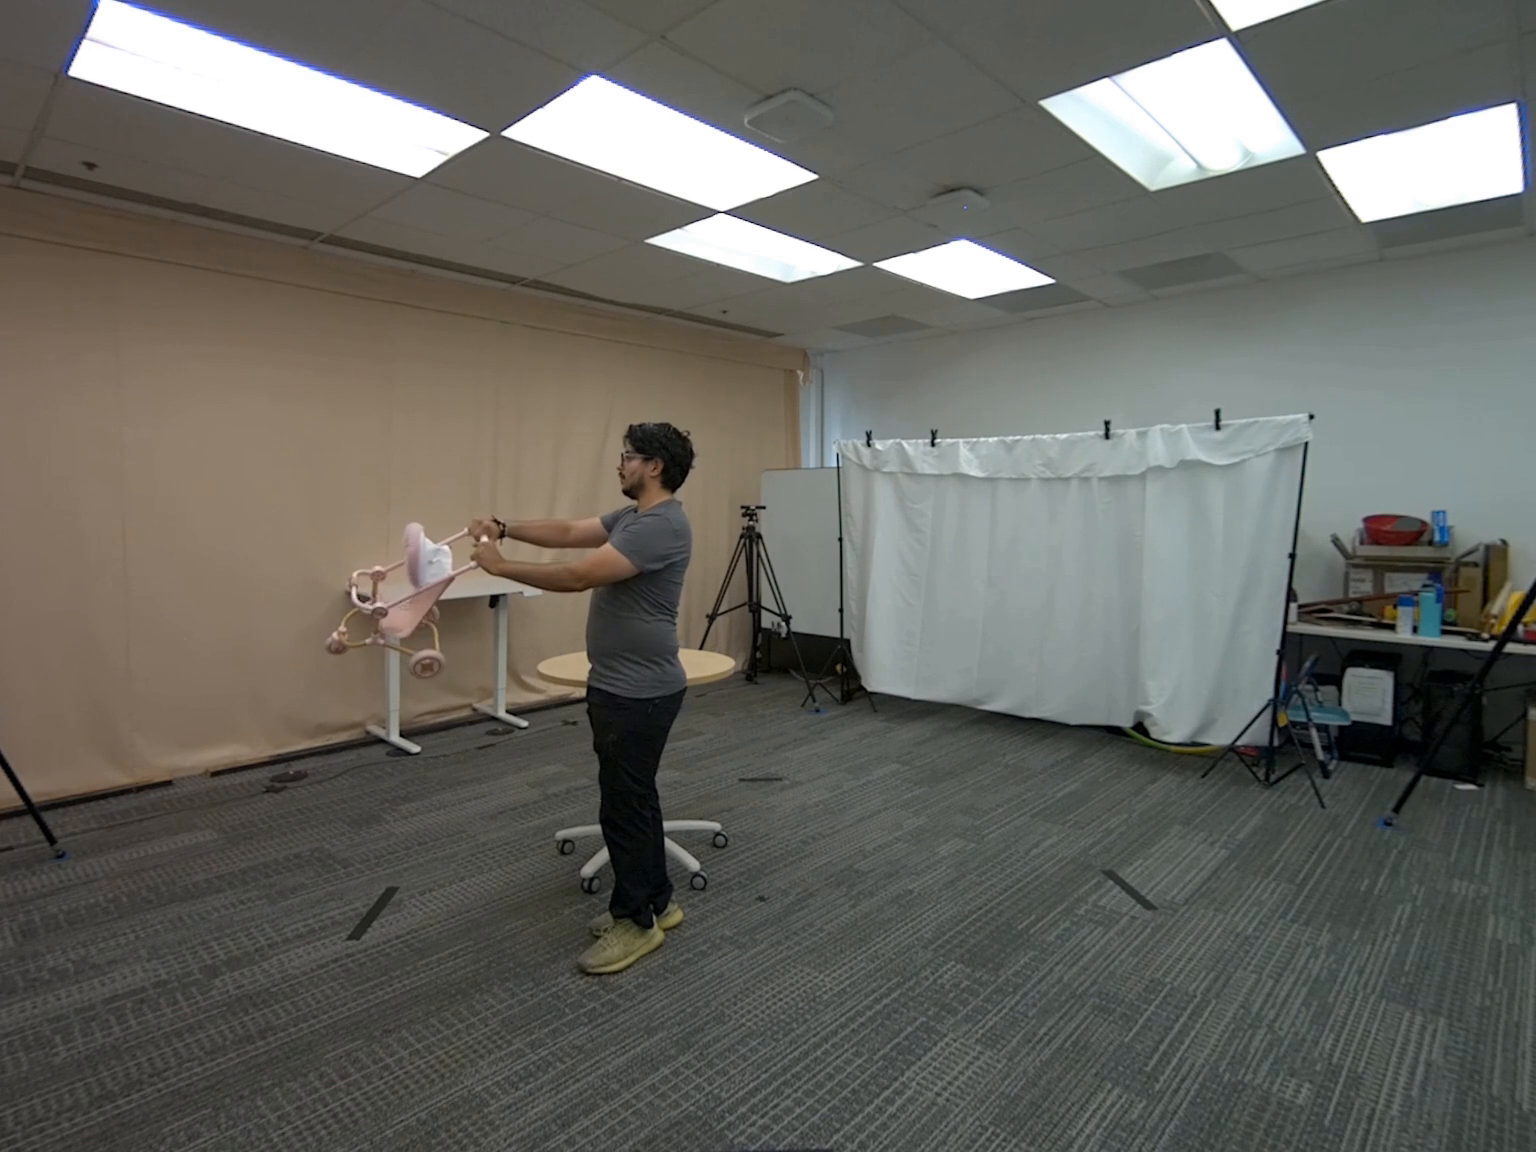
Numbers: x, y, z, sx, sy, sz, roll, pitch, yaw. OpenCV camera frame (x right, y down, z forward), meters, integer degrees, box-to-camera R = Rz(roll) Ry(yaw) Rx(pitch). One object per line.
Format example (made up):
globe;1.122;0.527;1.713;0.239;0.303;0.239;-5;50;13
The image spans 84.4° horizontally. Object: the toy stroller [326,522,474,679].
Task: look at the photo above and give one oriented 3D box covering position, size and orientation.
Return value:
toy stroller;-1.121;0.063;2.586;0.331;0.535;0.290;18;25;-29
